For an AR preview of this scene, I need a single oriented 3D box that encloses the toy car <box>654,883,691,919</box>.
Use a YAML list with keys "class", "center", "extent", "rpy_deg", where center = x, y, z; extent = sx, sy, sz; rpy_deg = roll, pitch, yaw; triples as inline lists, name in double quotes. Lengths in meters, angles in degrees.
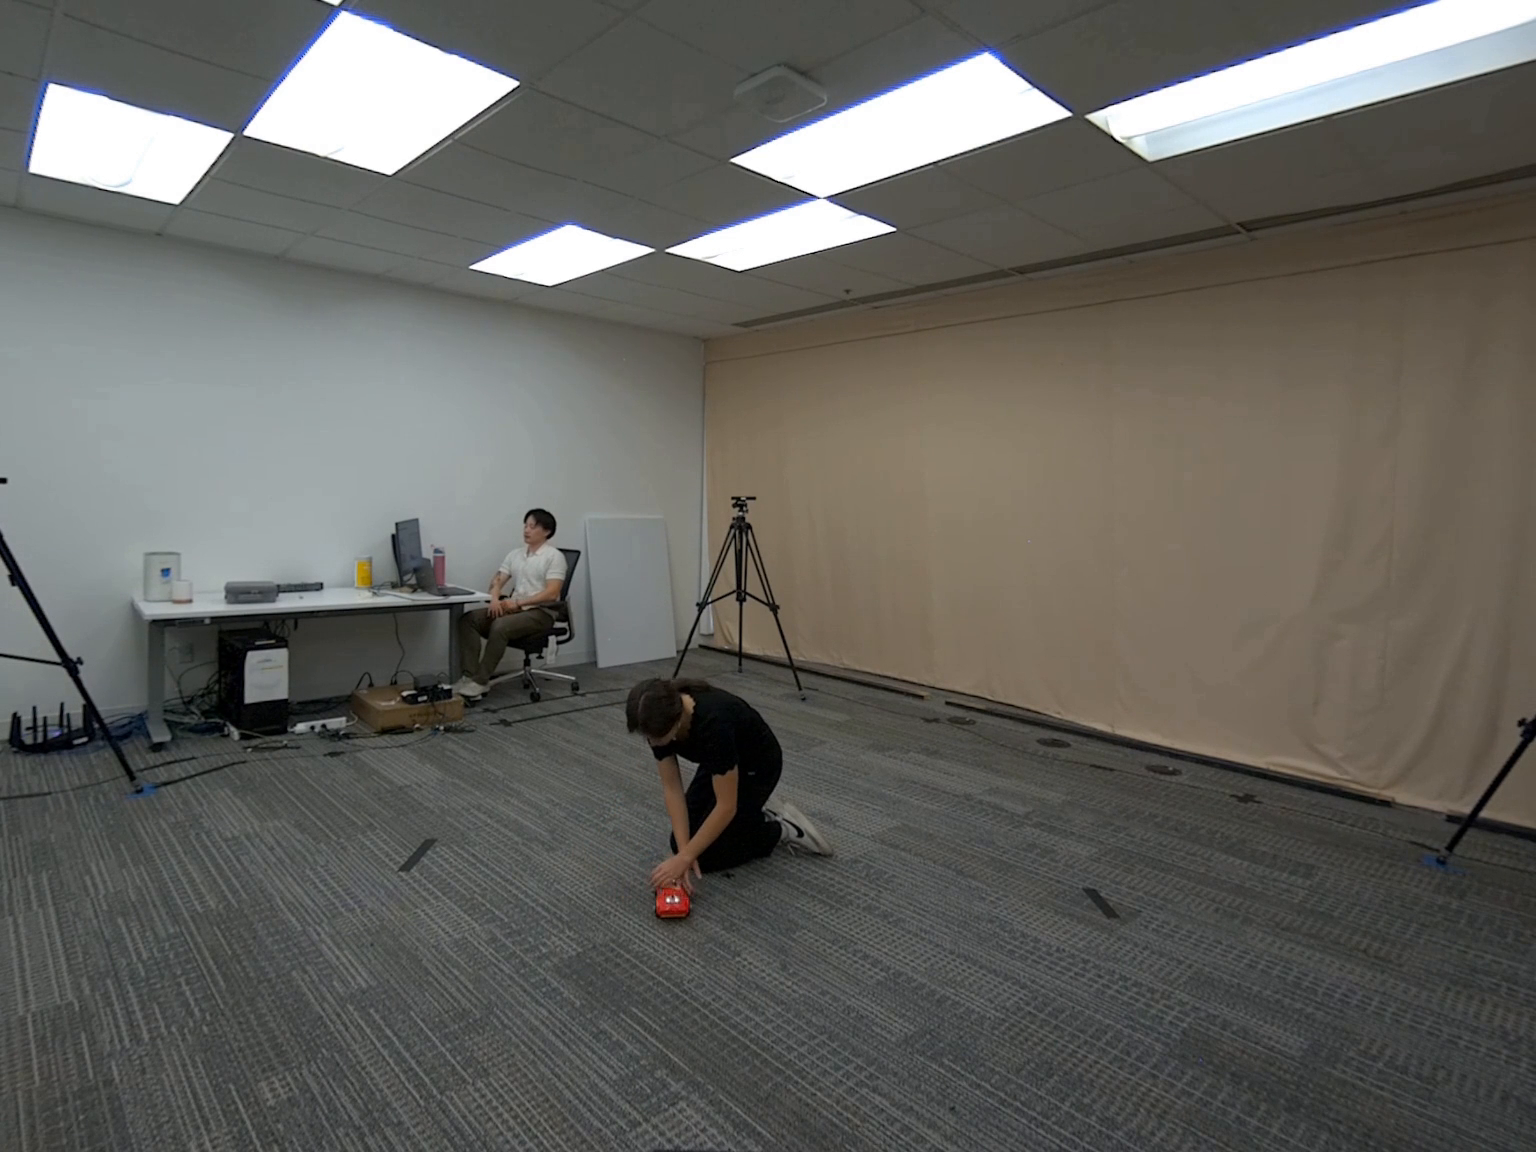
- class: "toy car"
  center: [-0.339, 1.095, 2.841]
  extent: [0.129, 0.084, 0.254]
  rpy_deg: [1, -7, -8]
